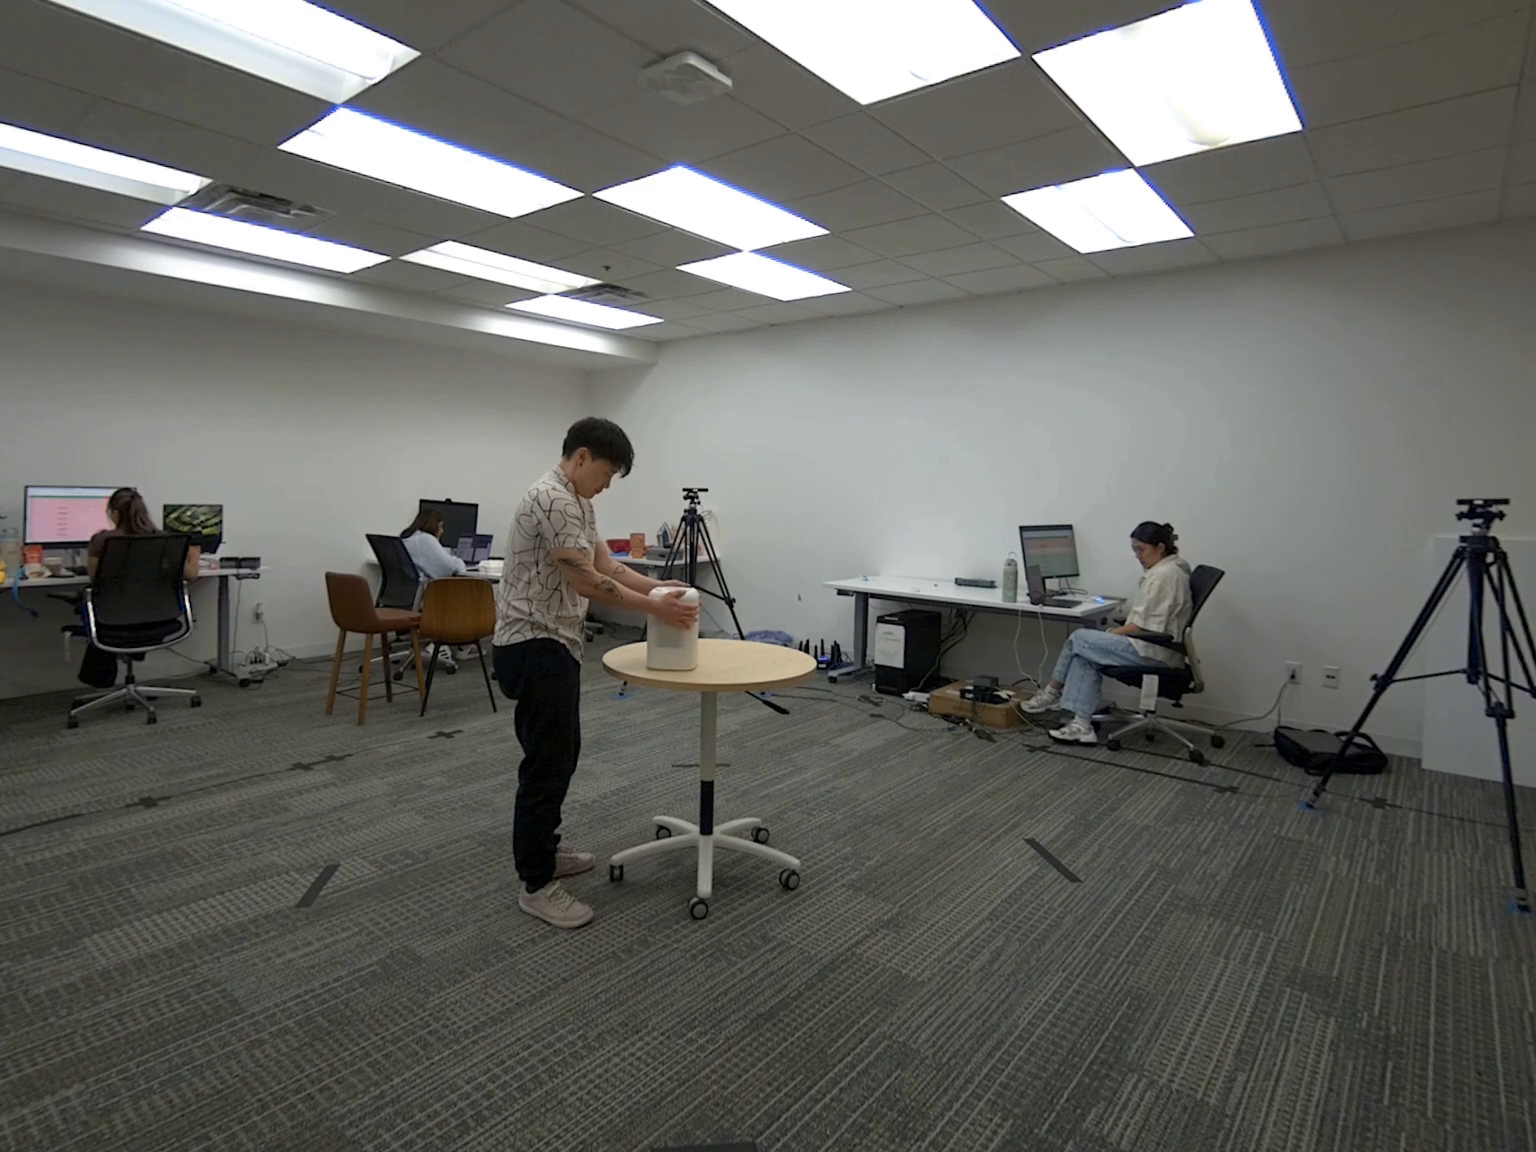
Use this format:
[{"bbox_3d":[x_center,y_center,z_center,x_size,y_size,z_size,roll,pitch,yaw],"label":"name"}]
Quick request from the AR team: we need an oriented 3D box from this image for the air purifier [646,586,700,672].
[{"bbox_3d":[-0.340,0.179,2.914,0.172,0.264,0.171,3,5,4],"label":"air purifier"}]
